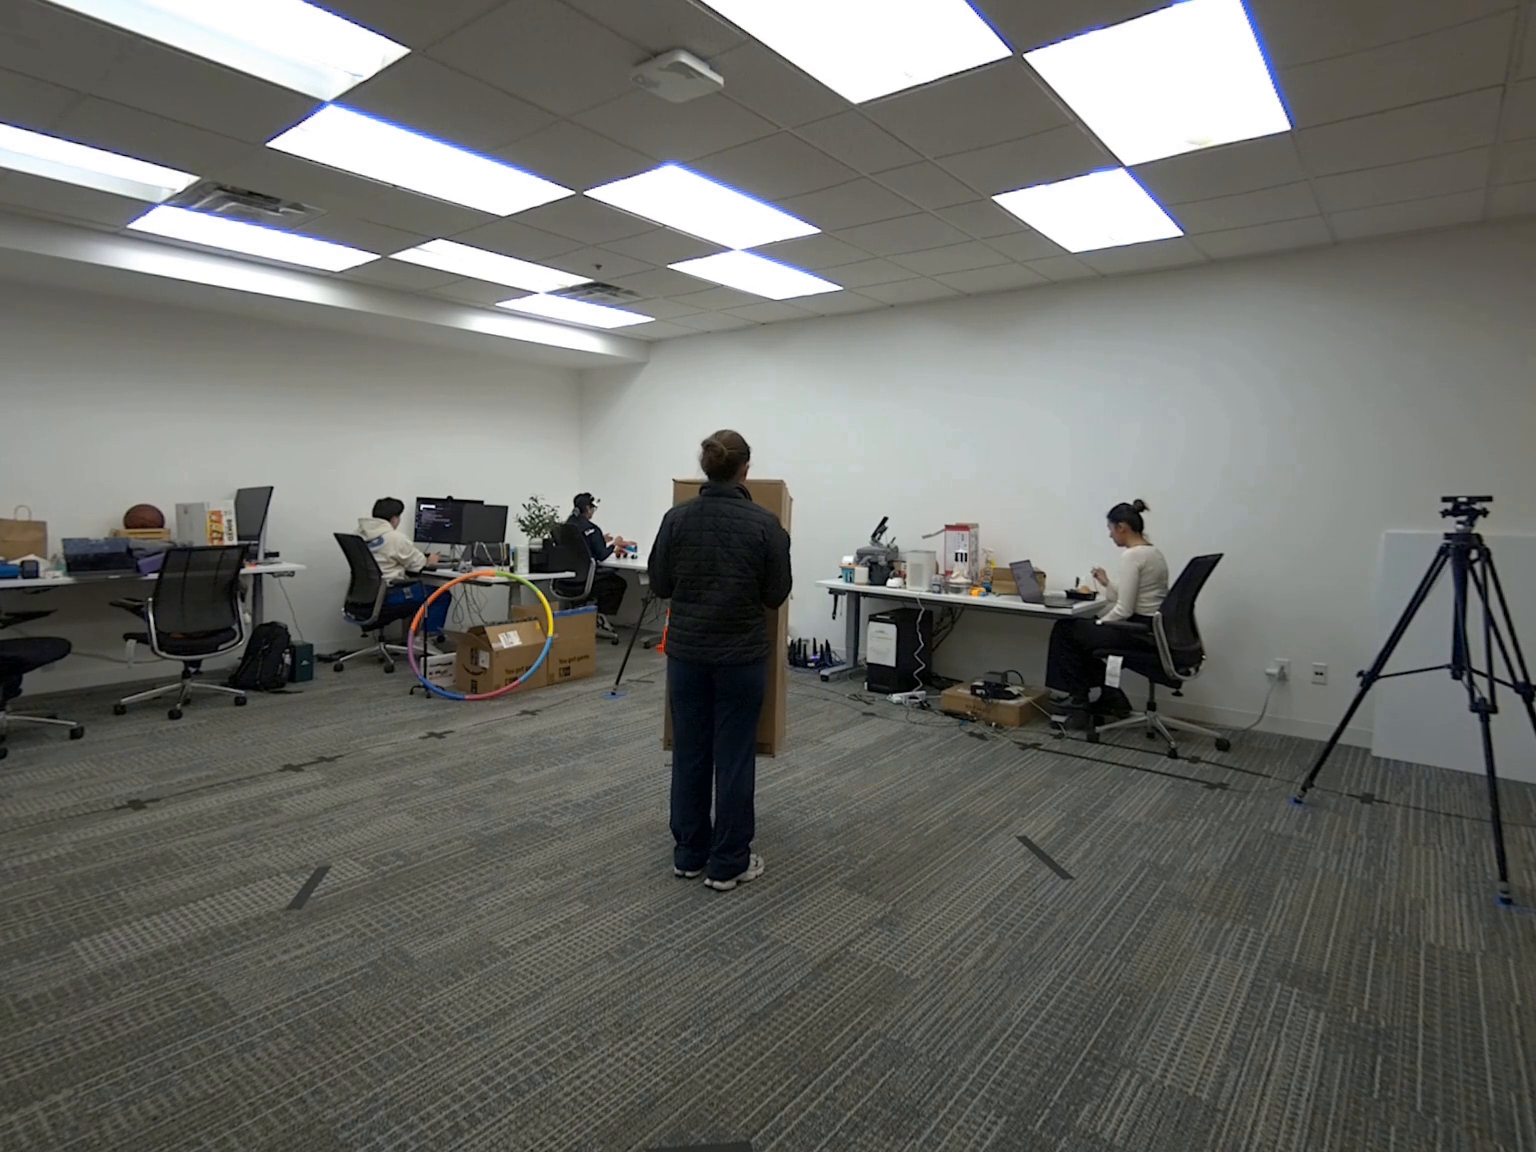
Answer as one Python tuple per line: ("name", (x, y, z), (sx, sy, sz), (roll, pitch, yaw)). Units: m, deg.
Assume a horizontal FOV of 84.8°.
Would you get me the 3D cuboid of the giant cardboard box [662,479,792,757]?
("giant cardboard box", (-0.108, 0.155, 3.459), (0.431, 1.030, 0.569), (1, -4, 8))
